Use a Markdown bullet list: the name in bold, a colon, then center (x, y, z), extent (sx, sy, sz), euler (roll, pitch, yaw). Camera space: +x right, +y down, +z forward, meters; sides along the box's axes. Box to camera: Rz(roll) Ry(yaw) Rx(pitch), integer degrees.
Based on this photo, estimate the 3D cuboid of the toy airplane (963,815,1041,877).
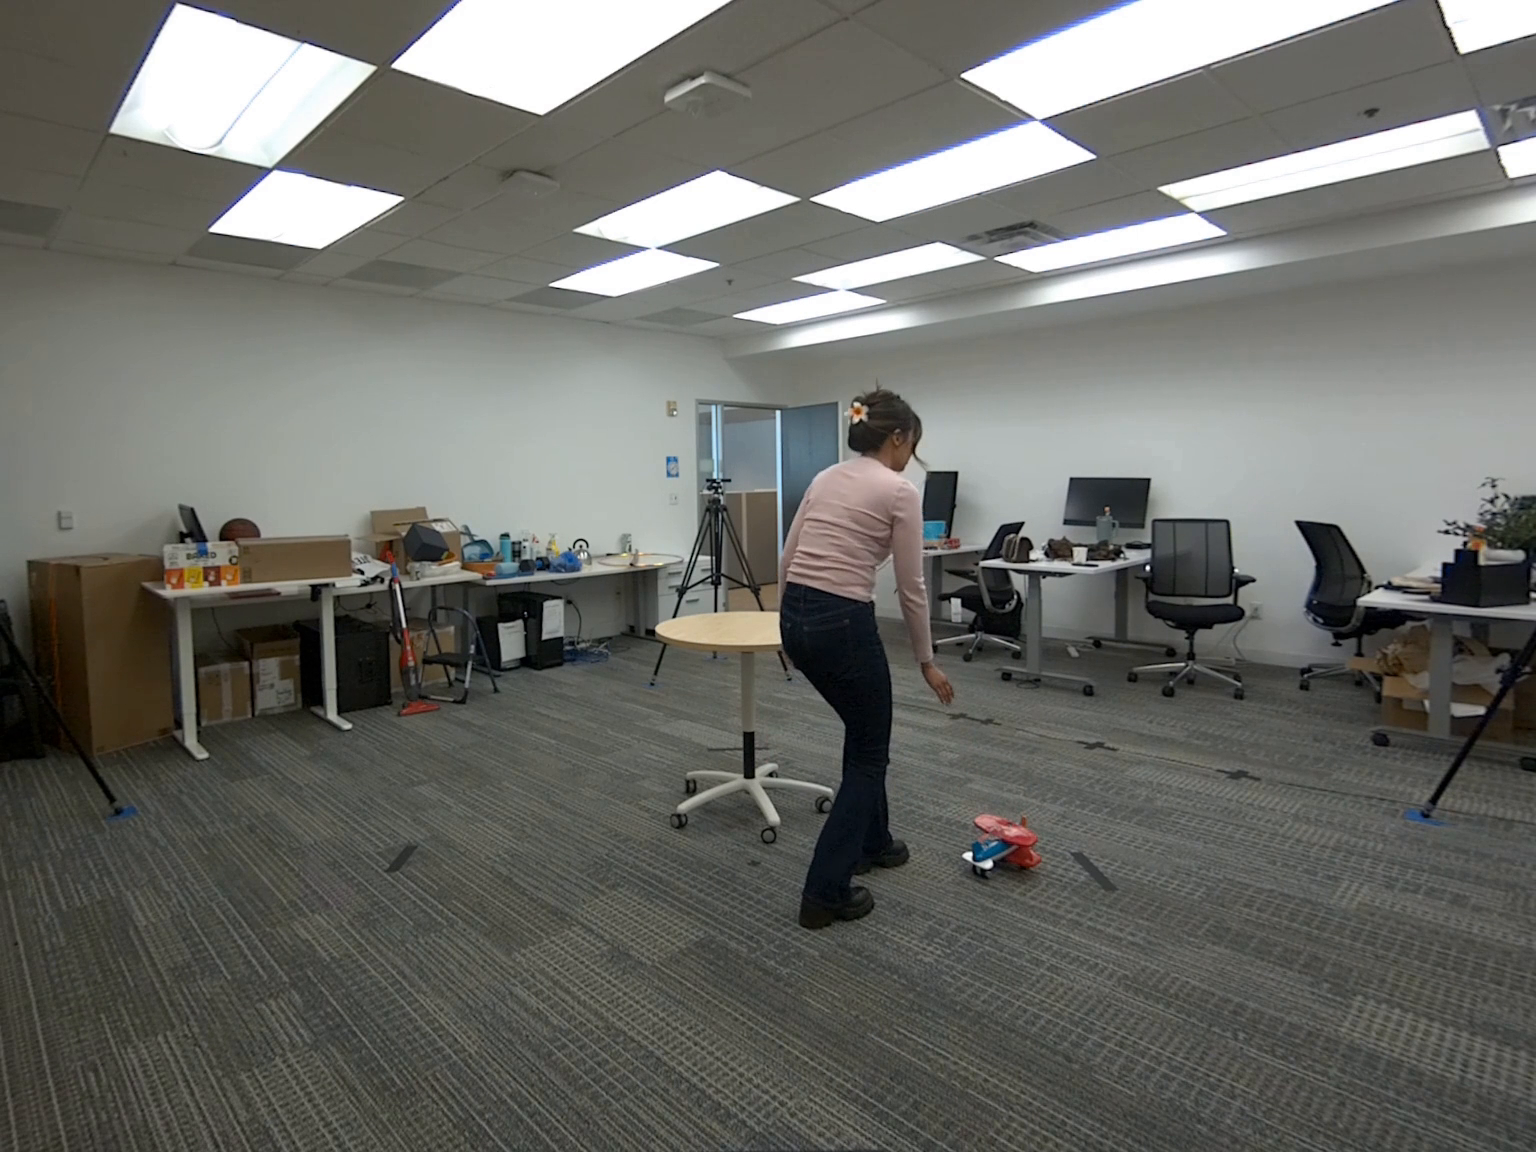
- **toy airplane**: center (0.834, 0.966, 3.012), extent (0.258, 0.156, 0.253), euler (3, 5, 30)
